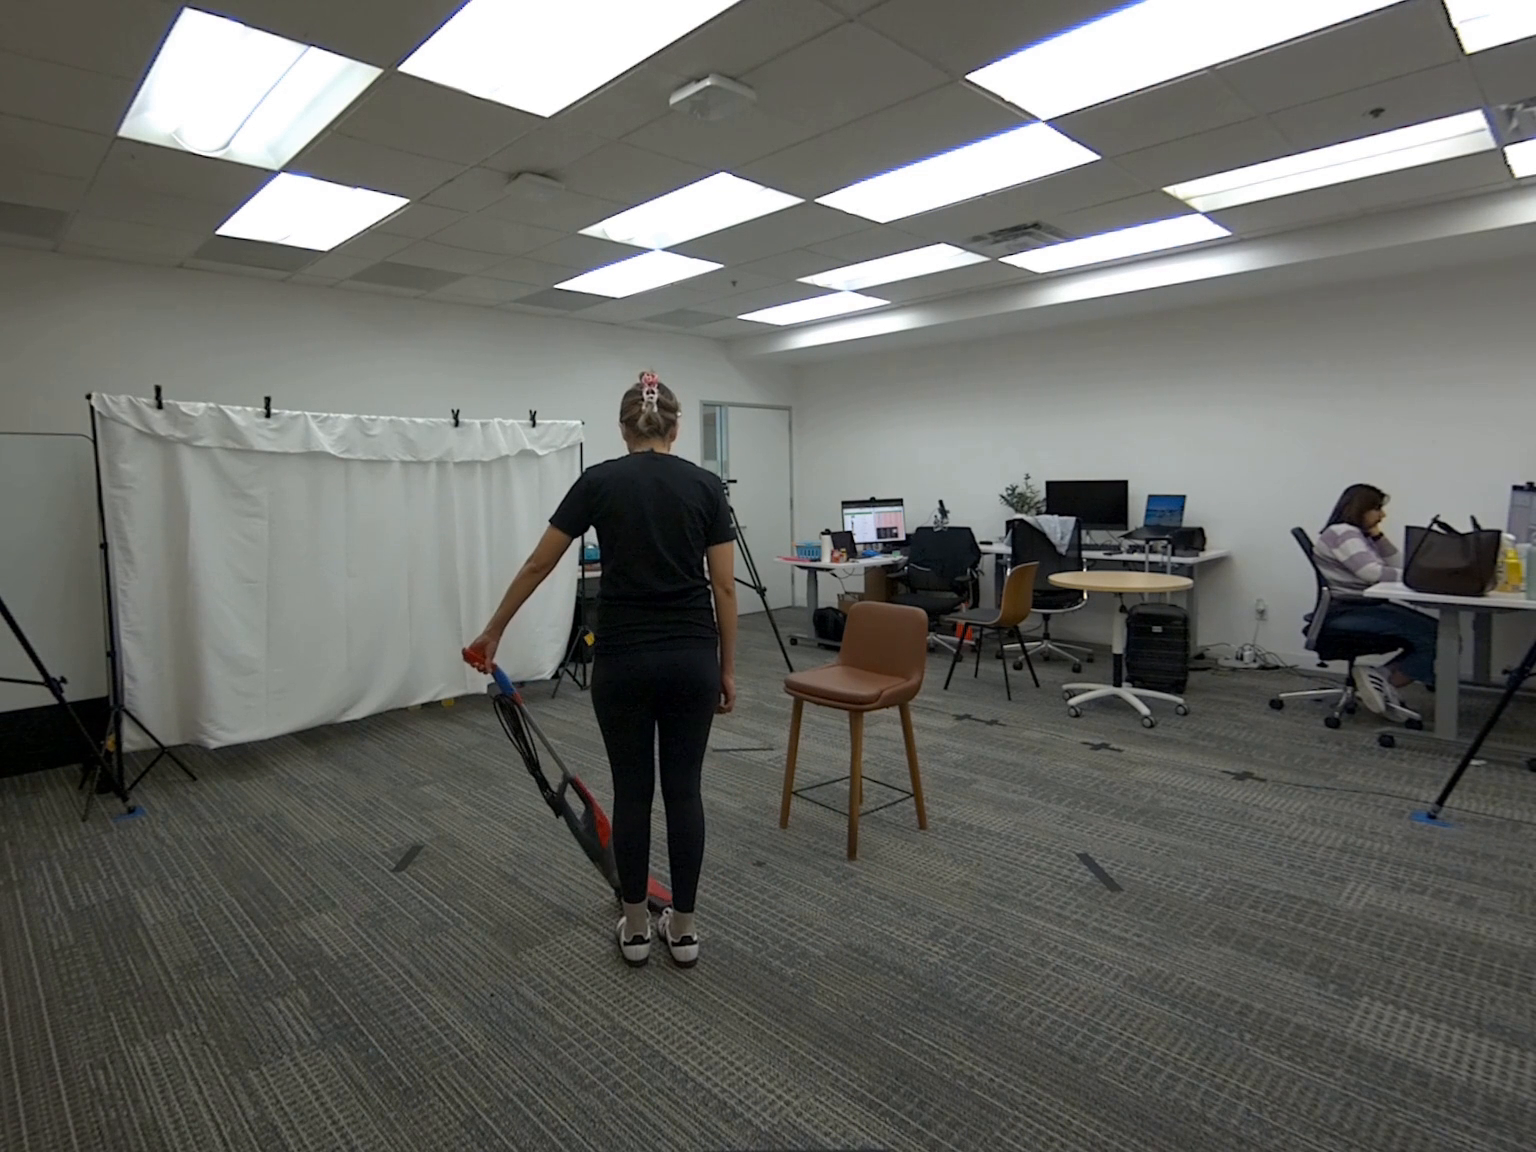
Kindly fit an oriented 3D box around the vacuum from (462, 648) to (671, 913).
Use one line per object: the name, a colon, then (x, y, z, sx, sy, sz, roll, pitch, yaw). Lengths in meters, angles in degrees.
vacuum: (-0.654, 0.653, 2.679, 0.143, 1.025, 0.259, -40, 22, -26)
